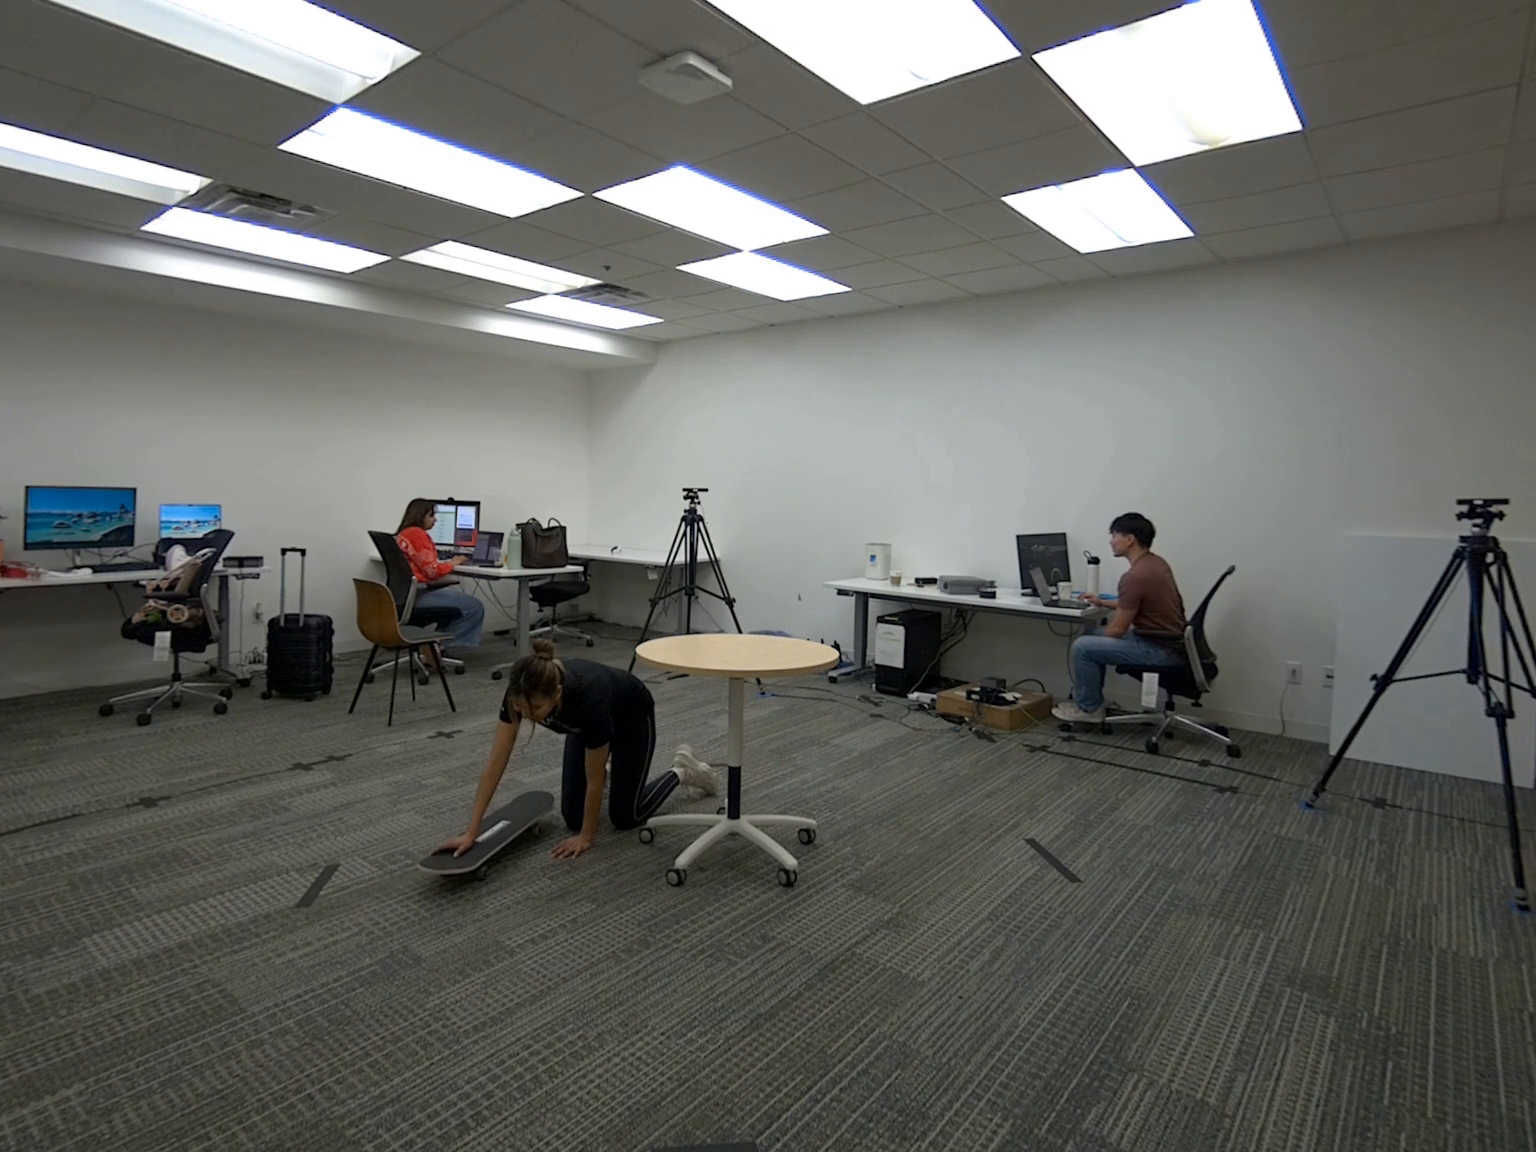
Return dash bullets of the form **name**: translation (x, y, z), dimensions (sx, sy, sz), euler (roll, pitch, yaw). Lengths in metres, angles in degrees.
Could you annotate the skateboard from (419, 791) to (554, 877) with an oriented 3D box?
- **skateboard**: translation (-1.053, 0.995, 3.214), dimensions (0.196, 0.110, 0.776), euler (2, 5, 13)
